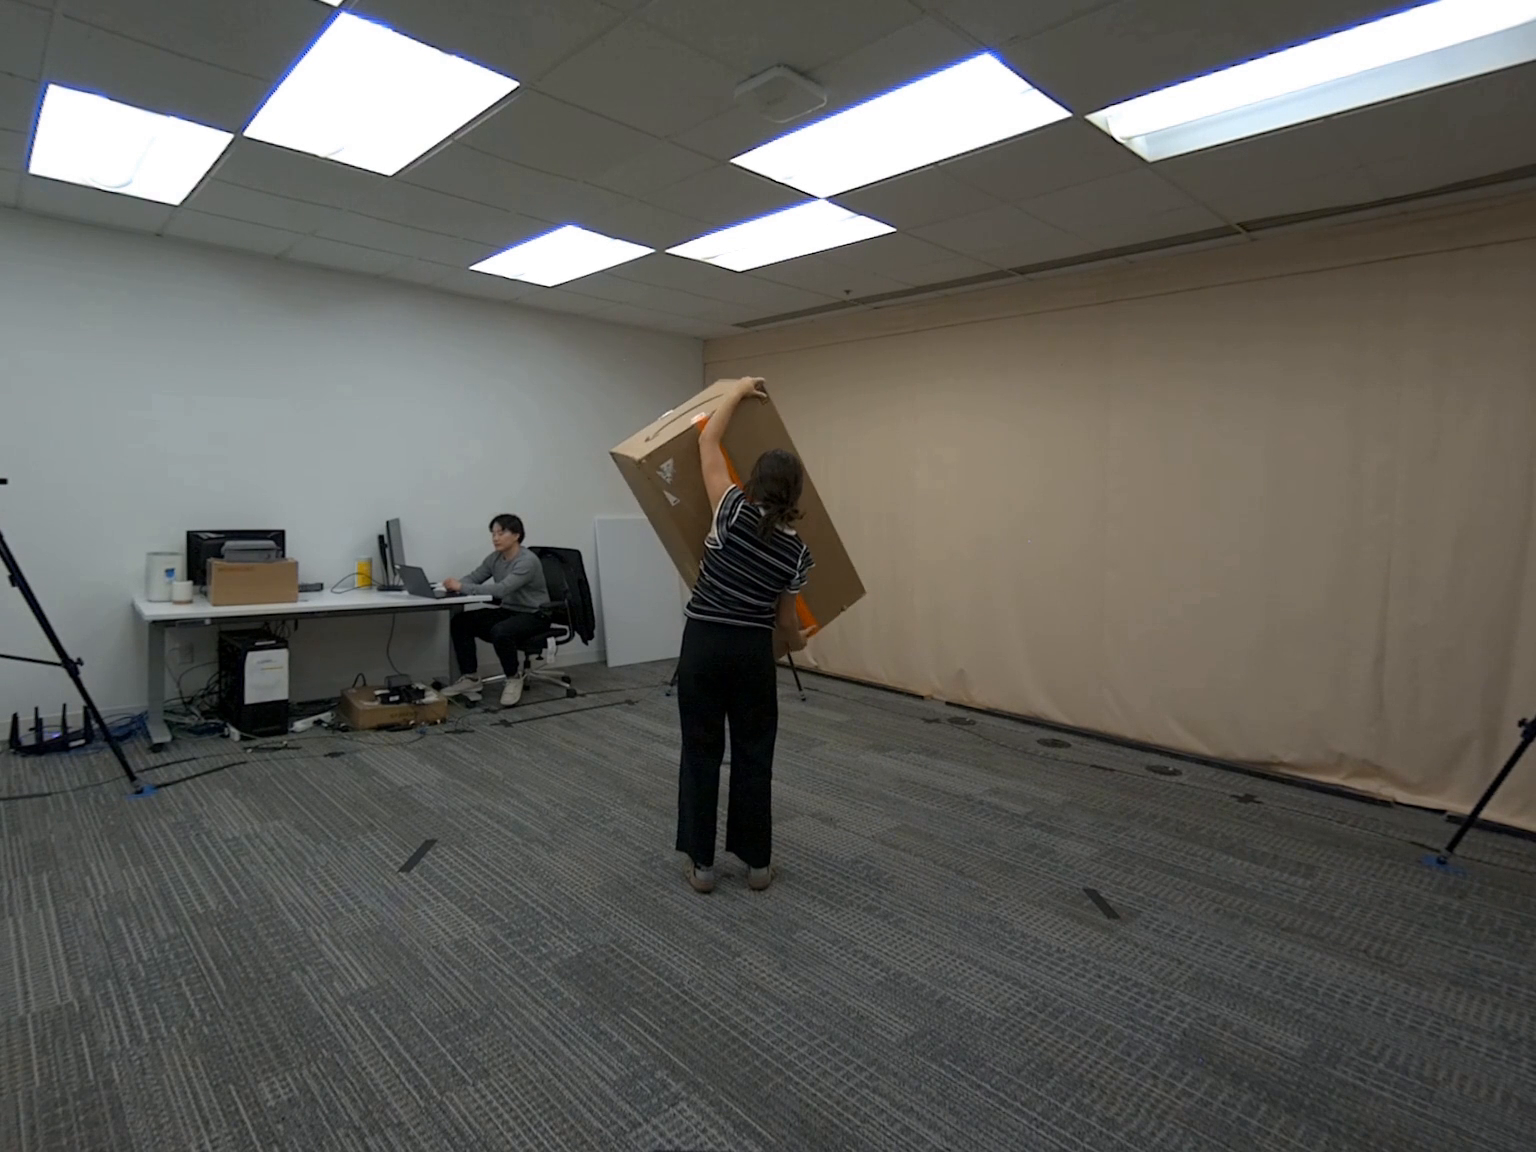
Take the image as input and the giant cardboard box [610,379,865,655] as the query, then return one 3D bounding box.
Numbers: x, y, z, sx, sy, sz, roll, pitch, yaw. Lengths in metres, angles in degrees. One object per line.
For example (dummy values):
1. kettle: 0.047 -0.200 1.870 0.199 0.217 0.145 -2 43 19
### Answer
1. giant cardboard box: -0.121 -0.216 3.485 0.575 1.005 0.436 -34 22 -14
